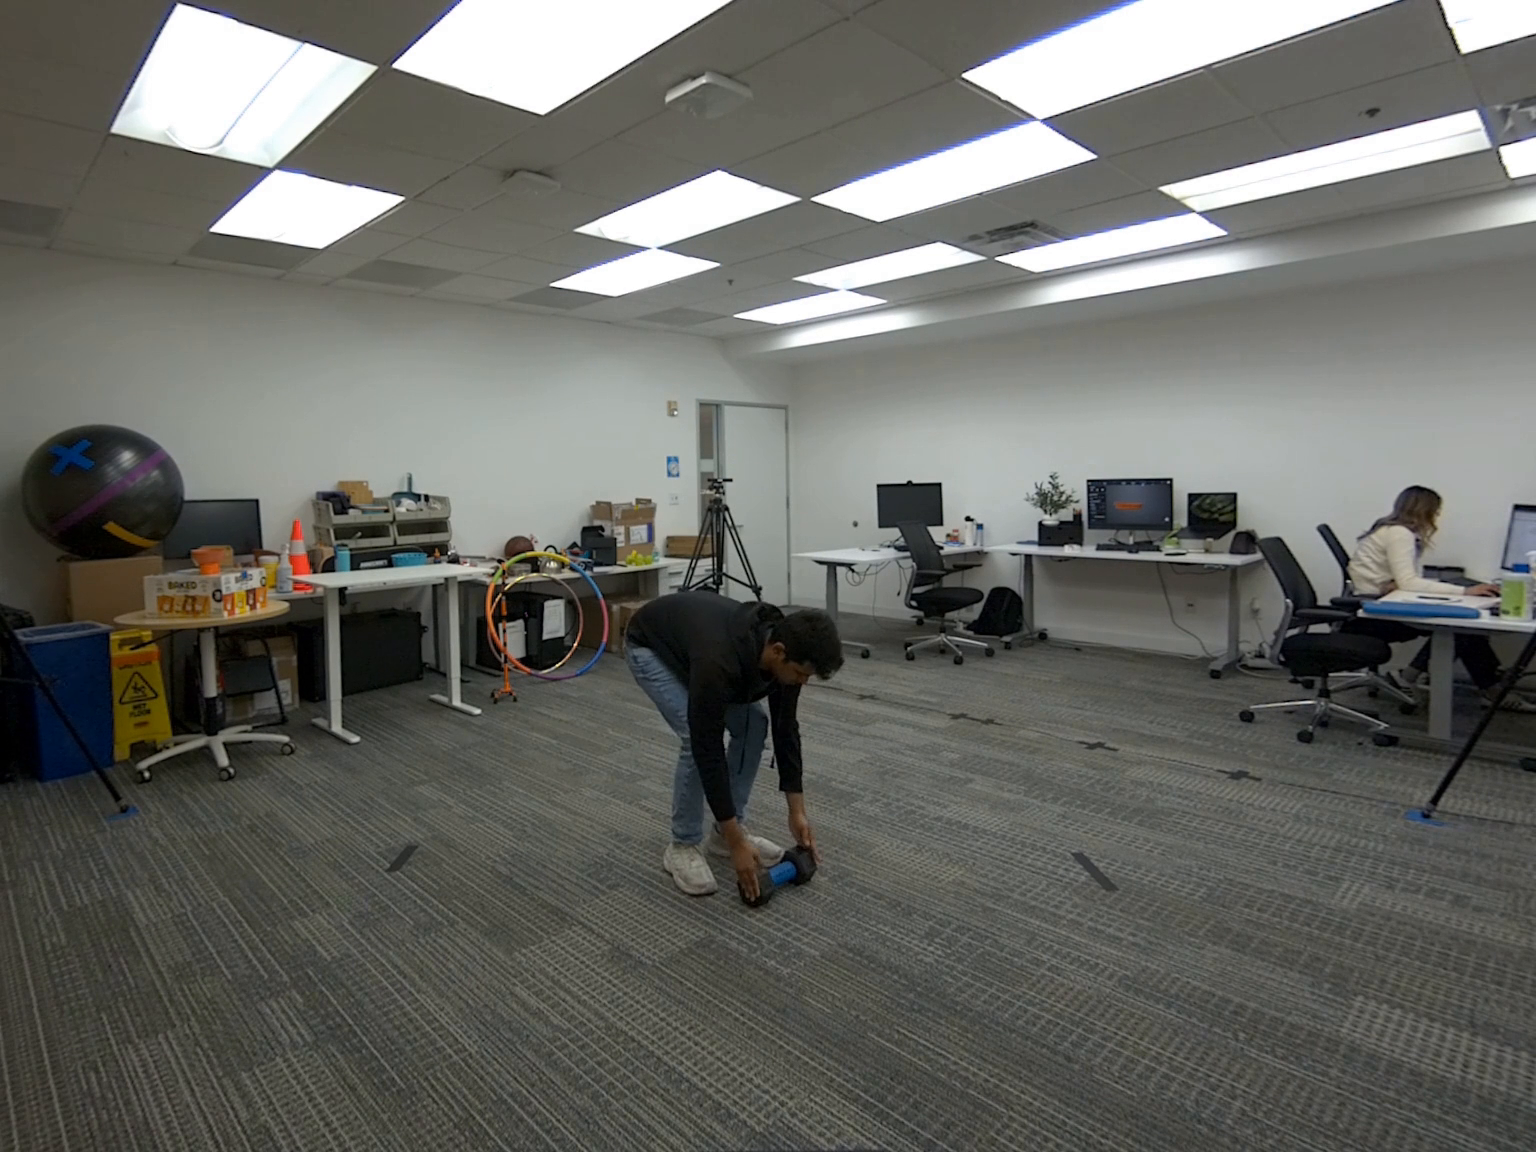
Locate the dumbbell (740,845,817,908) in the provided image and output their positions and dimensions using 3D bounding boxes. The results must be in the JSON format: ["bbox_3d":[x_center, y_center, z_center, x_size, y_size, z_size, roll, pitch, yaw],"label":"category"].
[{"bbox_3d":[0.030,1.007,2.895,0.286,0.125,0.109,-7,-23,-47],"label":"dumbbell"}]
